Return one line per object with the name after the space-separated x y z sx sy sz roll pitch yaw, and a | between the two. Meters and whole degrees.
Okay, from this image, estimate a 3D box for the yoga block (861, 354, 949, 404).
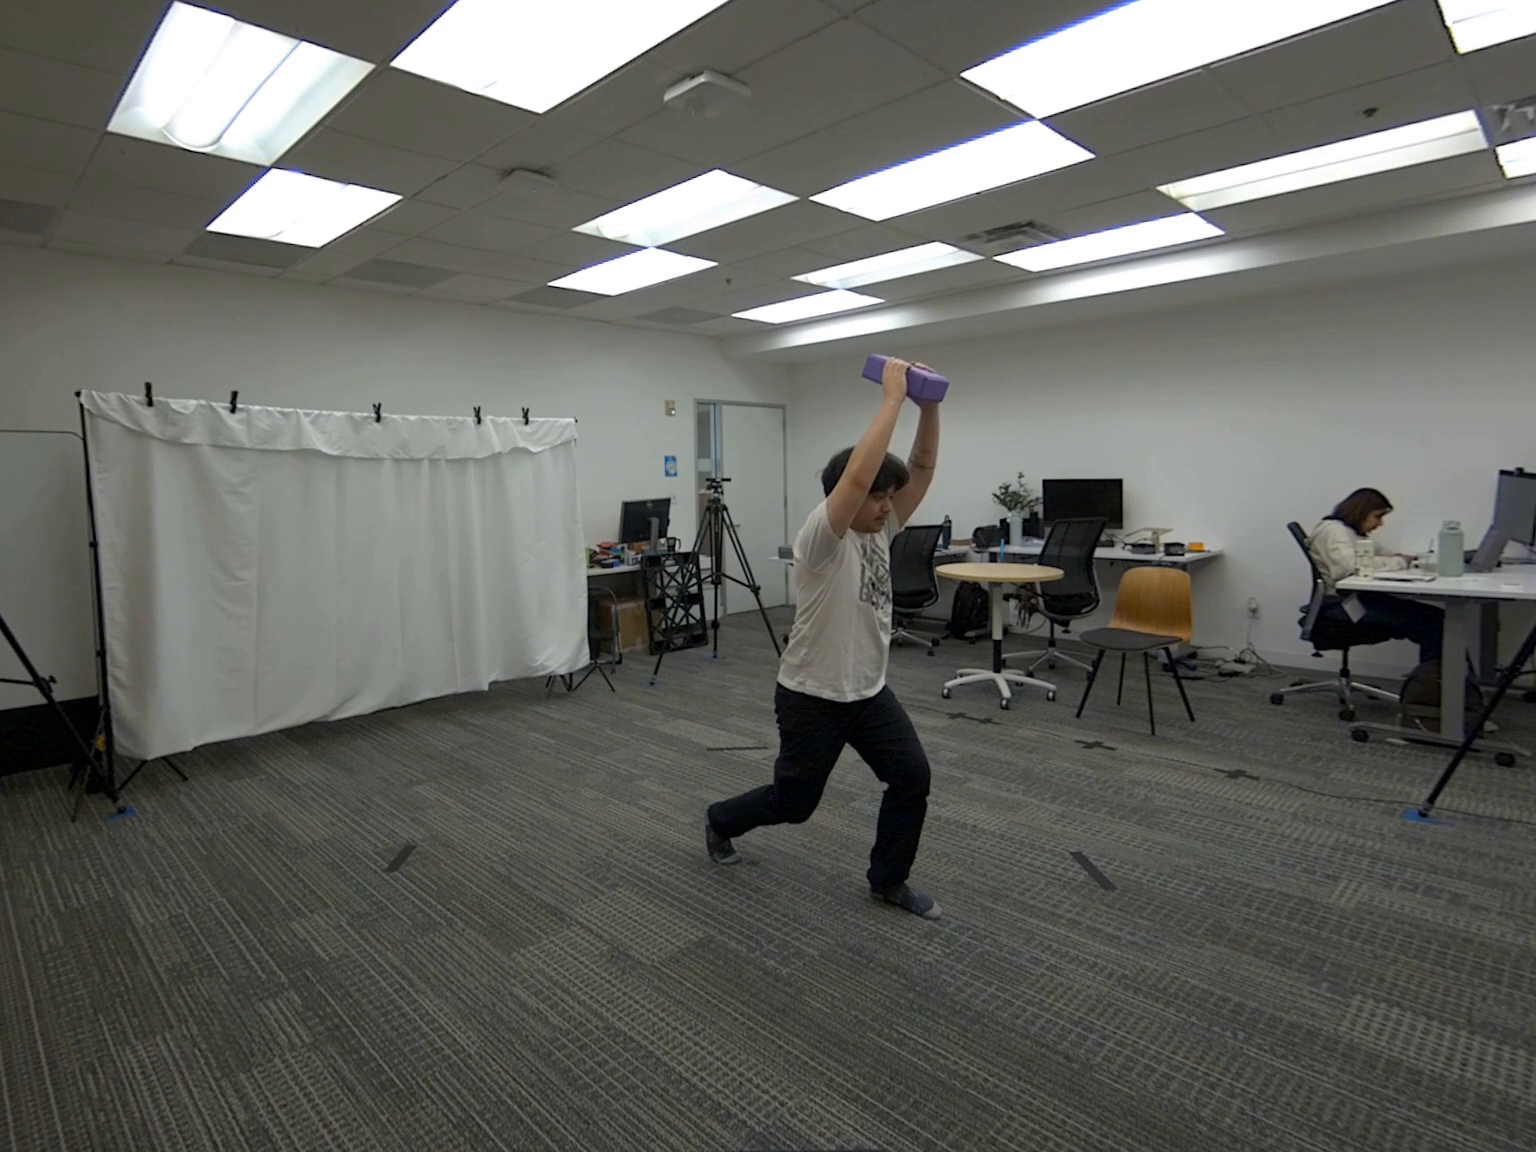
0.423 -0.608 2.637 0.238 0.075 0.145 33 24 35 | yoga block
